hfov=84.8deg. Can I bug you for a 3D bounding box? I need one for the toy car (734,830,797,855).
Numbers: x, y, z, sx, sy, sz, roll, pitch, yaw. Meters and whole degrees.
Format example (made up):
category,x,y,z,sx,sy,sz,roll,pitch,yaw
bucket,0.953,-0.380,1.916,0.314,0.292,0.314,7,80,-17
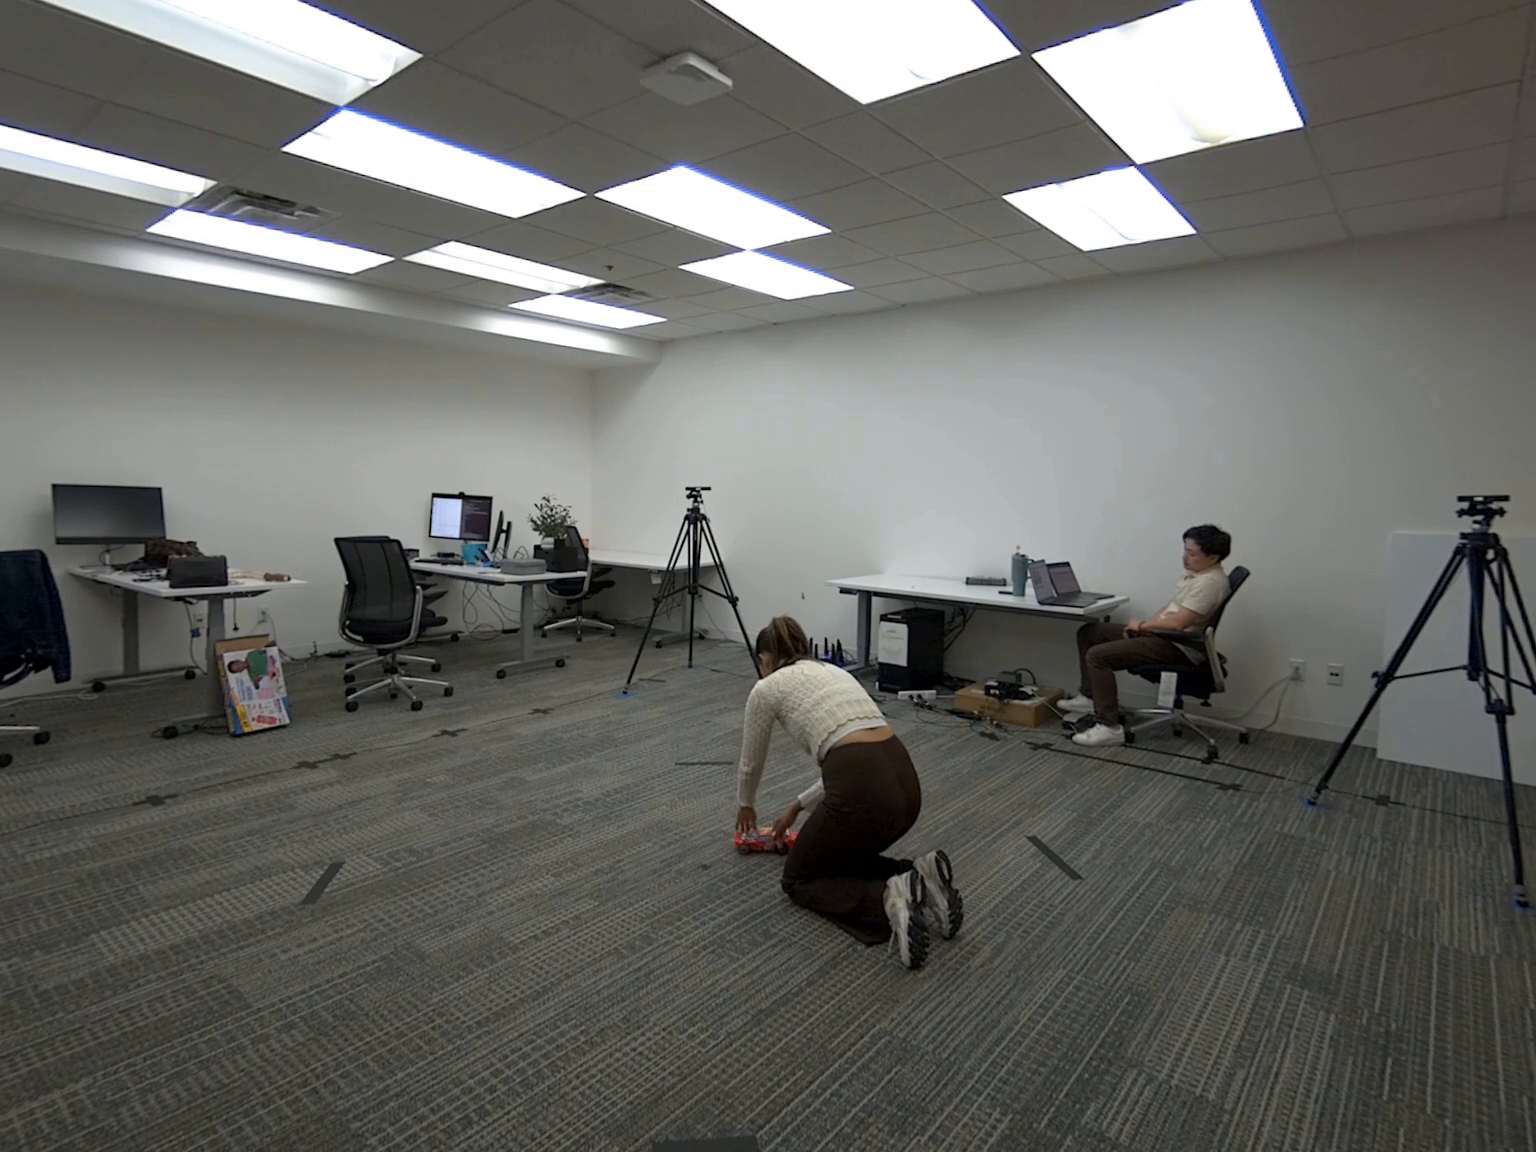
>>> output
category,x,y,z,sx,sy,sz,roll,pitch,yaw
toy car,-0.007,1.020,3.282,0.254,0.083,0.131,-9,5,-2
